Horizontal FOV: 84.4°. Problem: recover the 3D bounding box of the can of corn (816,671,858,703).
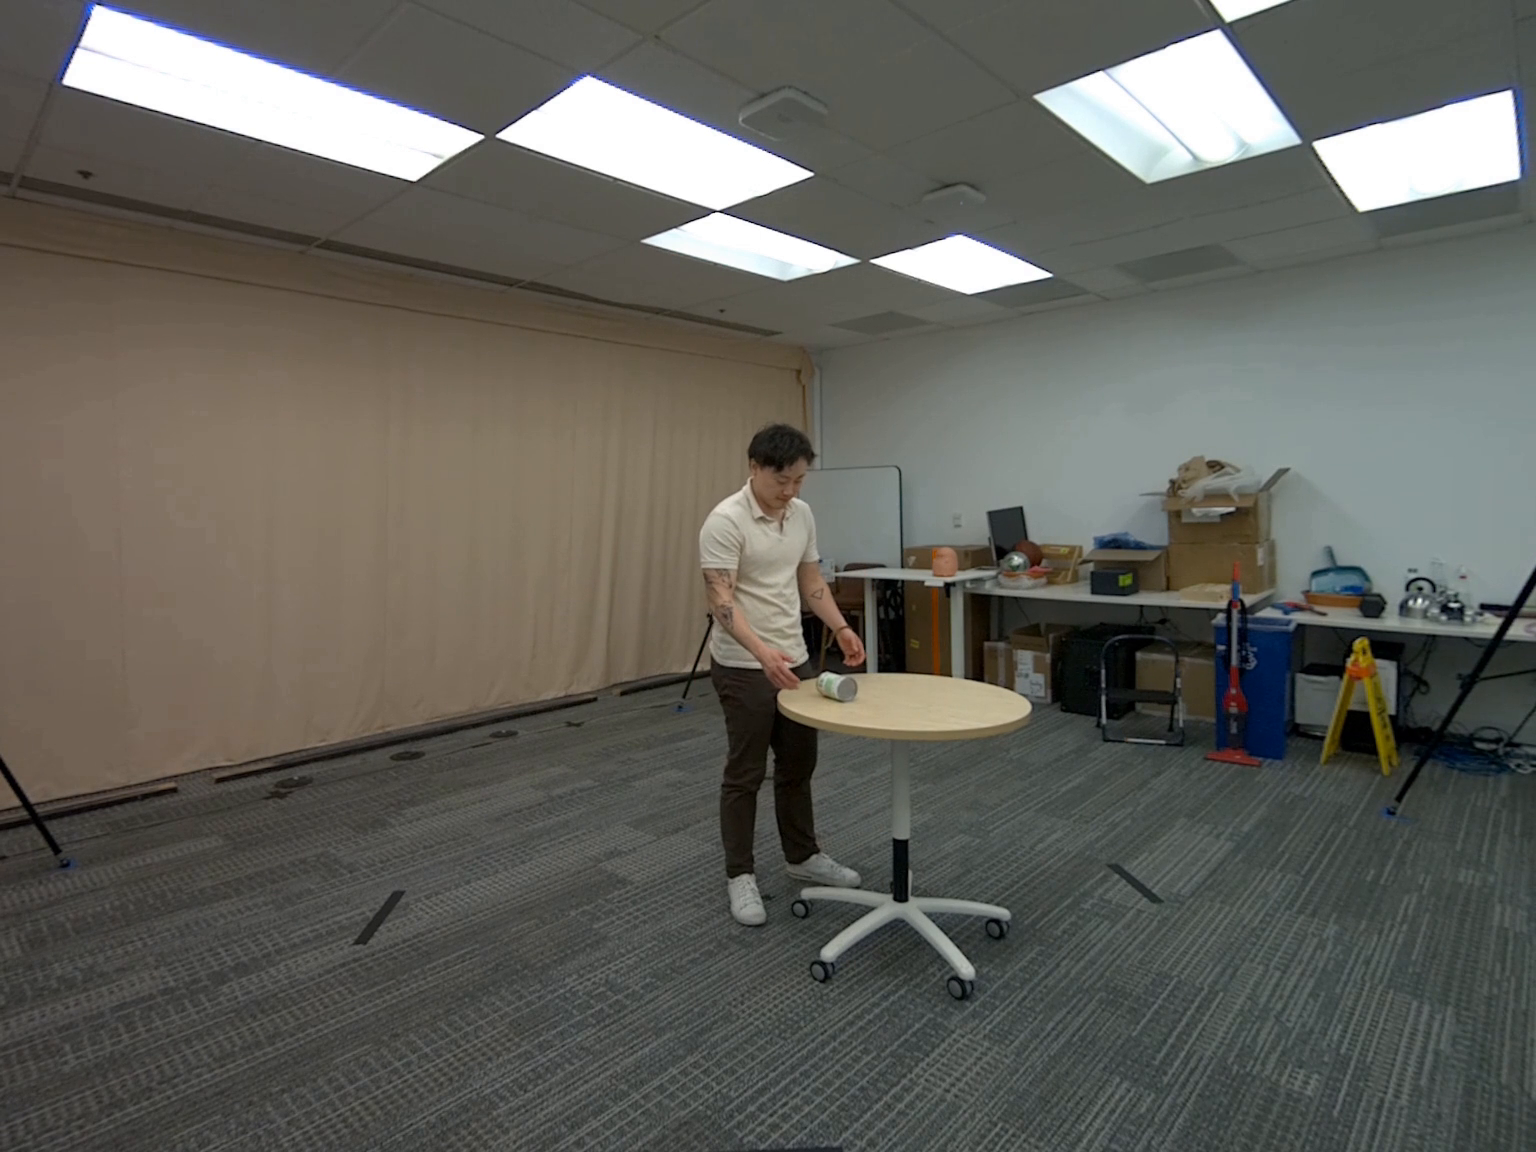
[{"bbox_3d":[0.221,0.343,2.611,0.072,0.074,0.114,-3,6,-30],"label":"can of corn"}]
